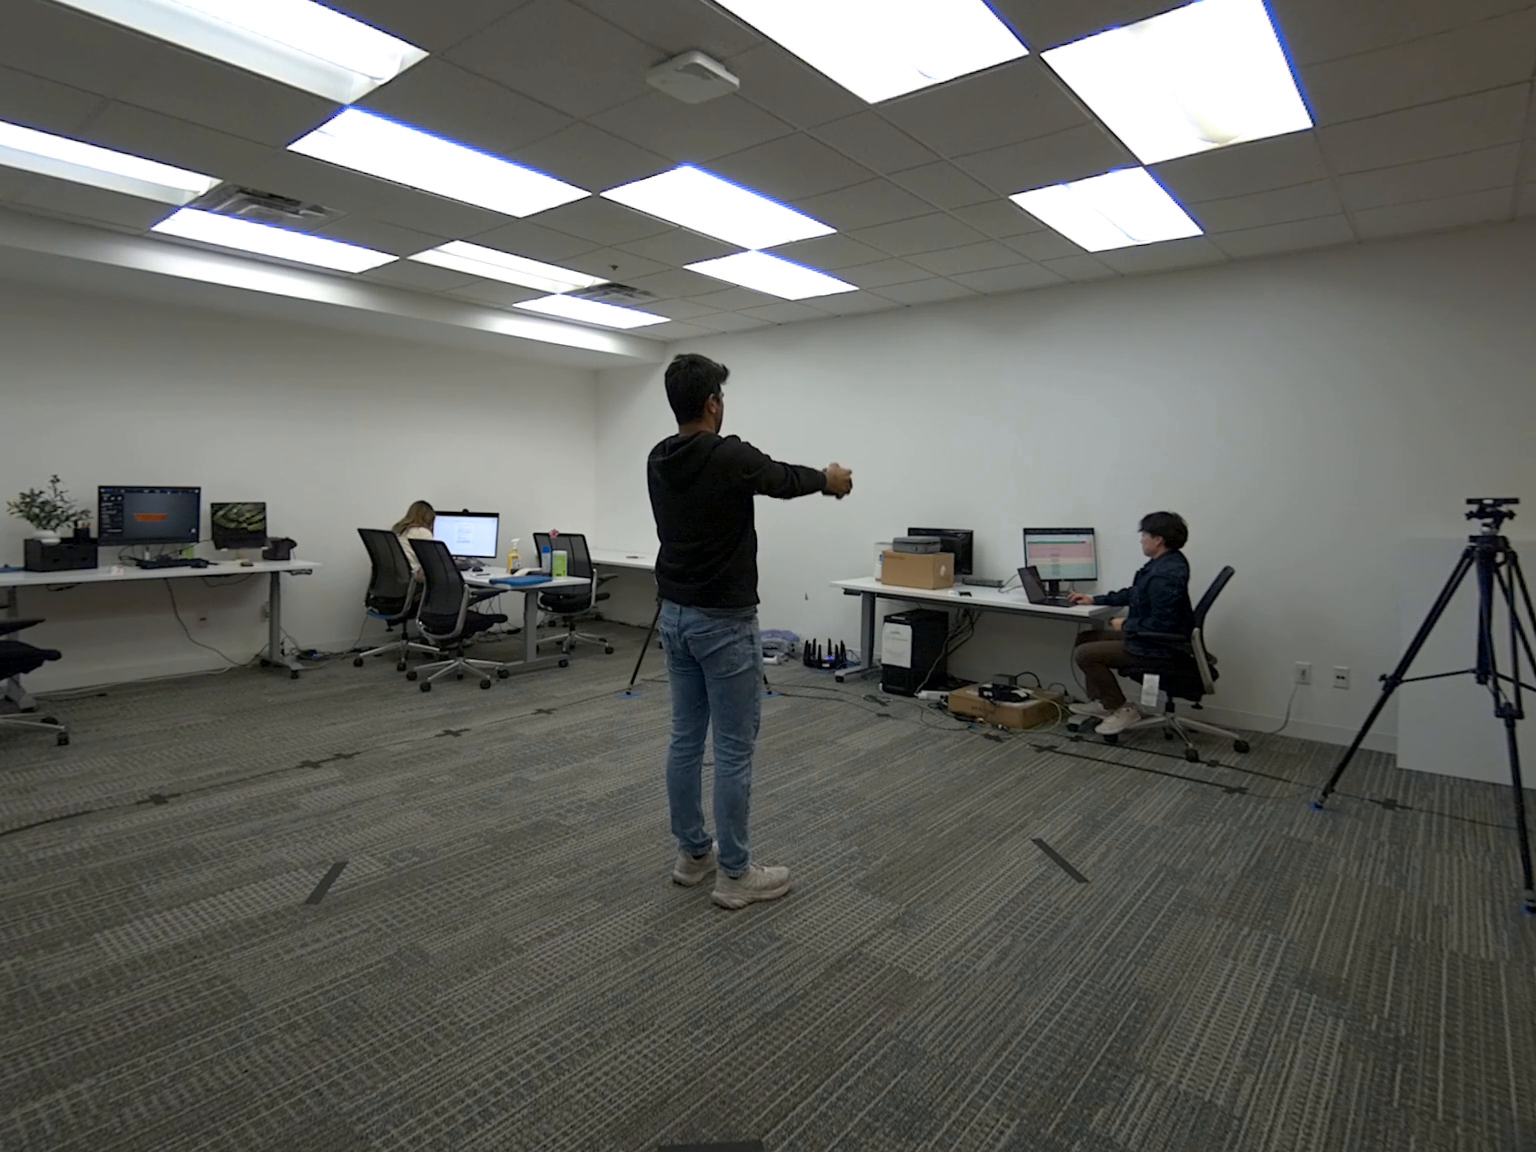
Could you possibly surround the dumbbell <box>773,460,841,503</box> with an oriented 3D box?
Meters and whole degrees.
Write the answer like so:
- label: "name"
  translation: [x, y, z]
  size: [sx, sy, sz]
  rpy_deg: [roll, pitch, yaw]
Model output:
- label: "dumbbell"
  translation: [0.146, -0.373, 3.312]
  size: [0.303, 0.124, 0.104]
  rpy_deg: [4, -29, 37]
